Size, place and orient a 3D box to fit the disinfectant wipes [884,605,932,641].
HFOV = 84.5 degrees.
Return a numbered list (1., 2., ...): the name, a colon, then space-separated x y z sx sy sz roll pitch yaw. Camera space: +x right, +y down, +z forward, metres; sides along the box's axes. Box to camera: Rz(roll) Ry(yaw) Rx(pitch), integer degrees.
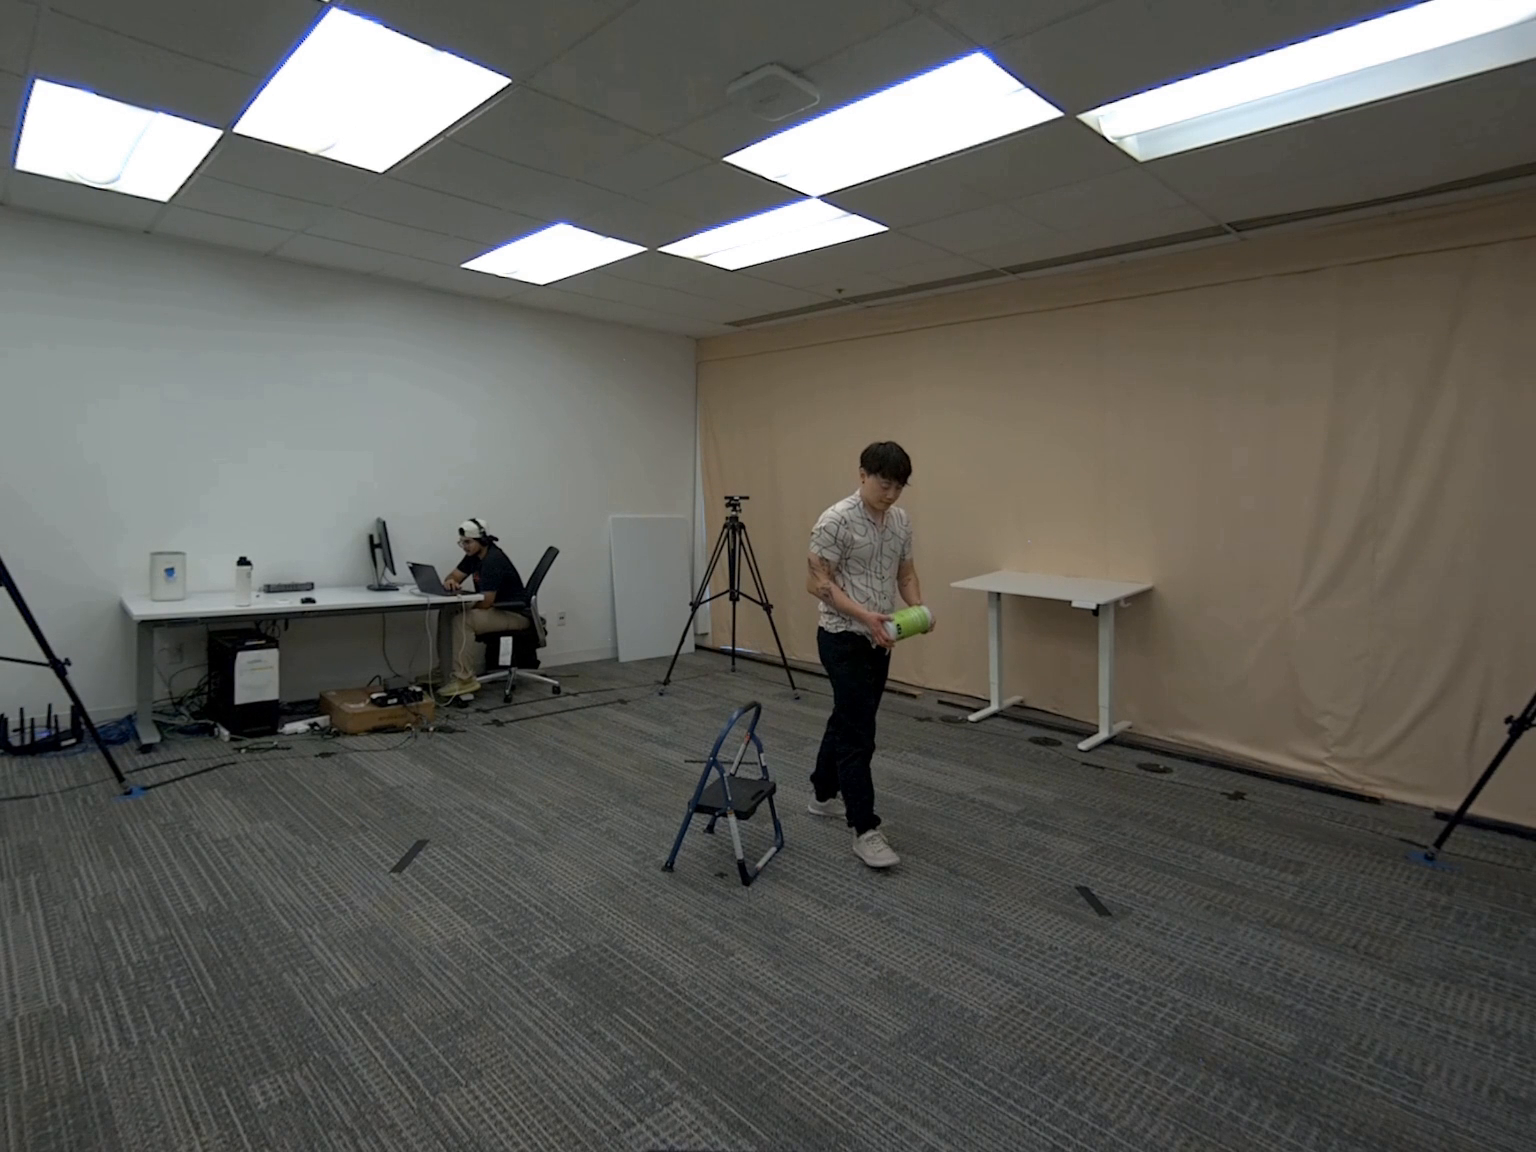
1. disinfectant wipes: 0.511 0.187 3.316 0.214 0.117 0.120 -16 13 -30
